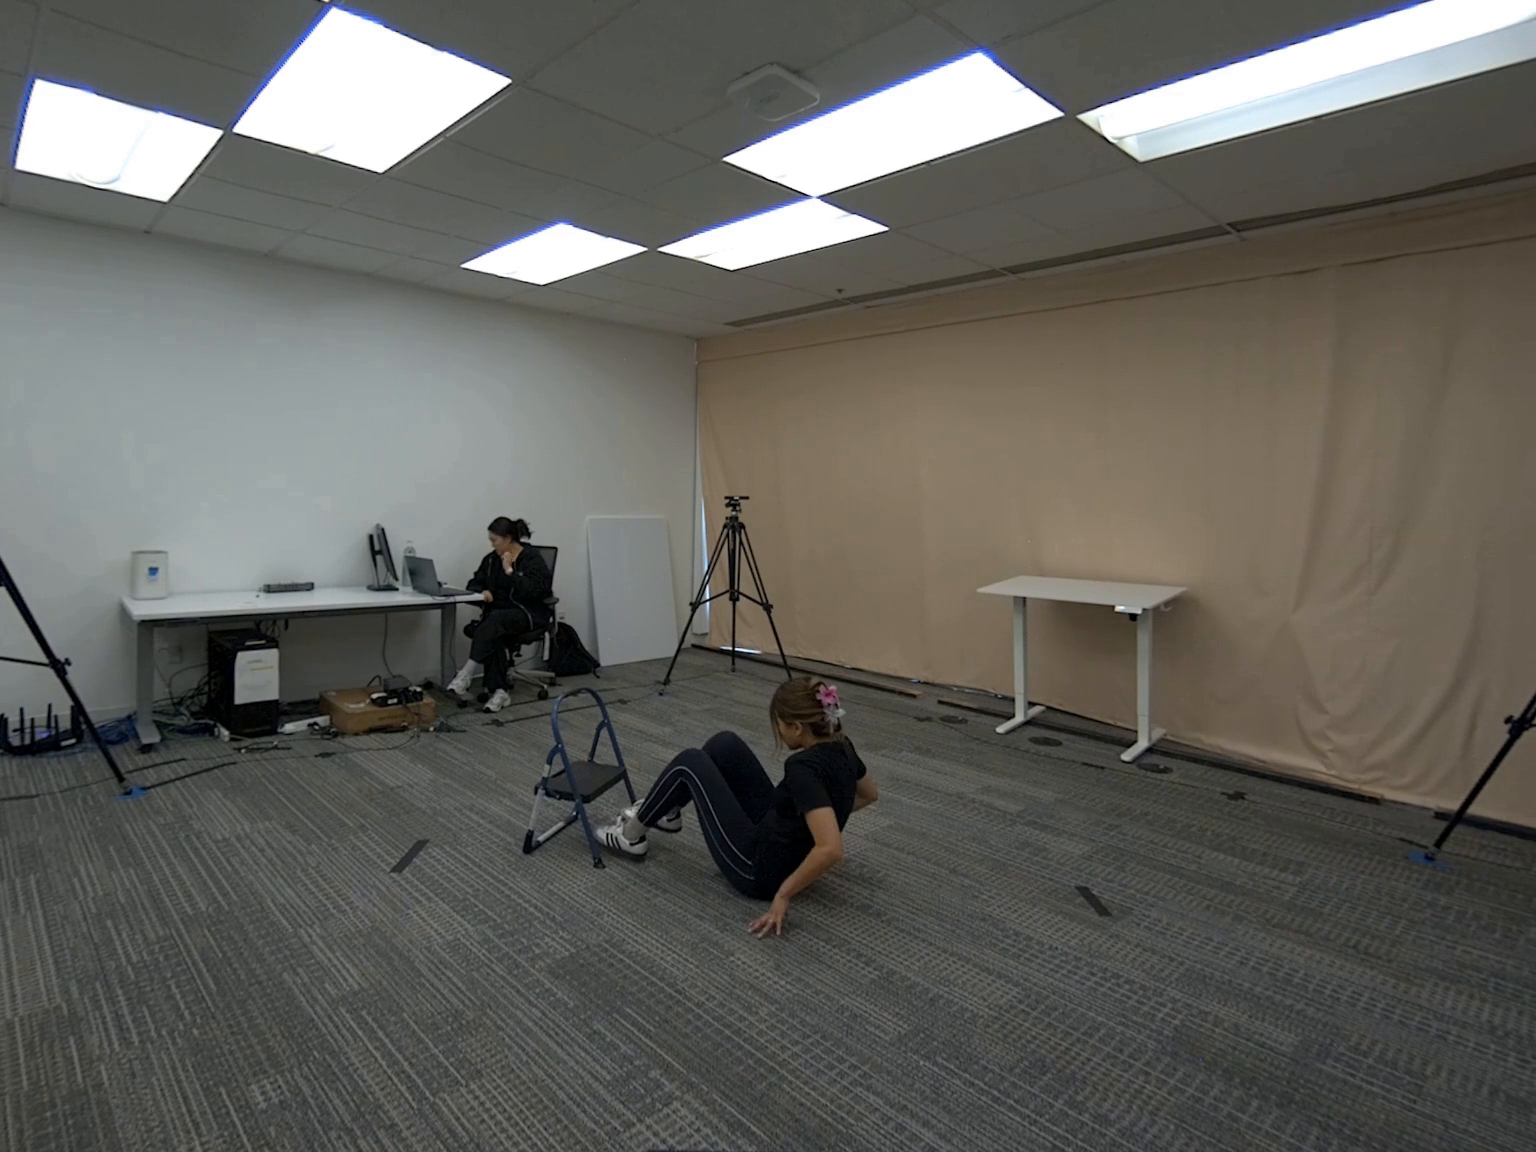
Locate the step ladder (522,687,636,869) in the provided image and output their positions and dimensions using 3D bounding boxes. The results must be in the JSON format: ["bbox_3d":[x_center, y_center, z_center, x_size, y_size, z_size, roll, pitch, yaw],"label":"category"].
[{"bbox_3d":[-0.731,0.764,3.376,0.354,0.604,0.426,3,4,16],"label":"step ladder"}]
